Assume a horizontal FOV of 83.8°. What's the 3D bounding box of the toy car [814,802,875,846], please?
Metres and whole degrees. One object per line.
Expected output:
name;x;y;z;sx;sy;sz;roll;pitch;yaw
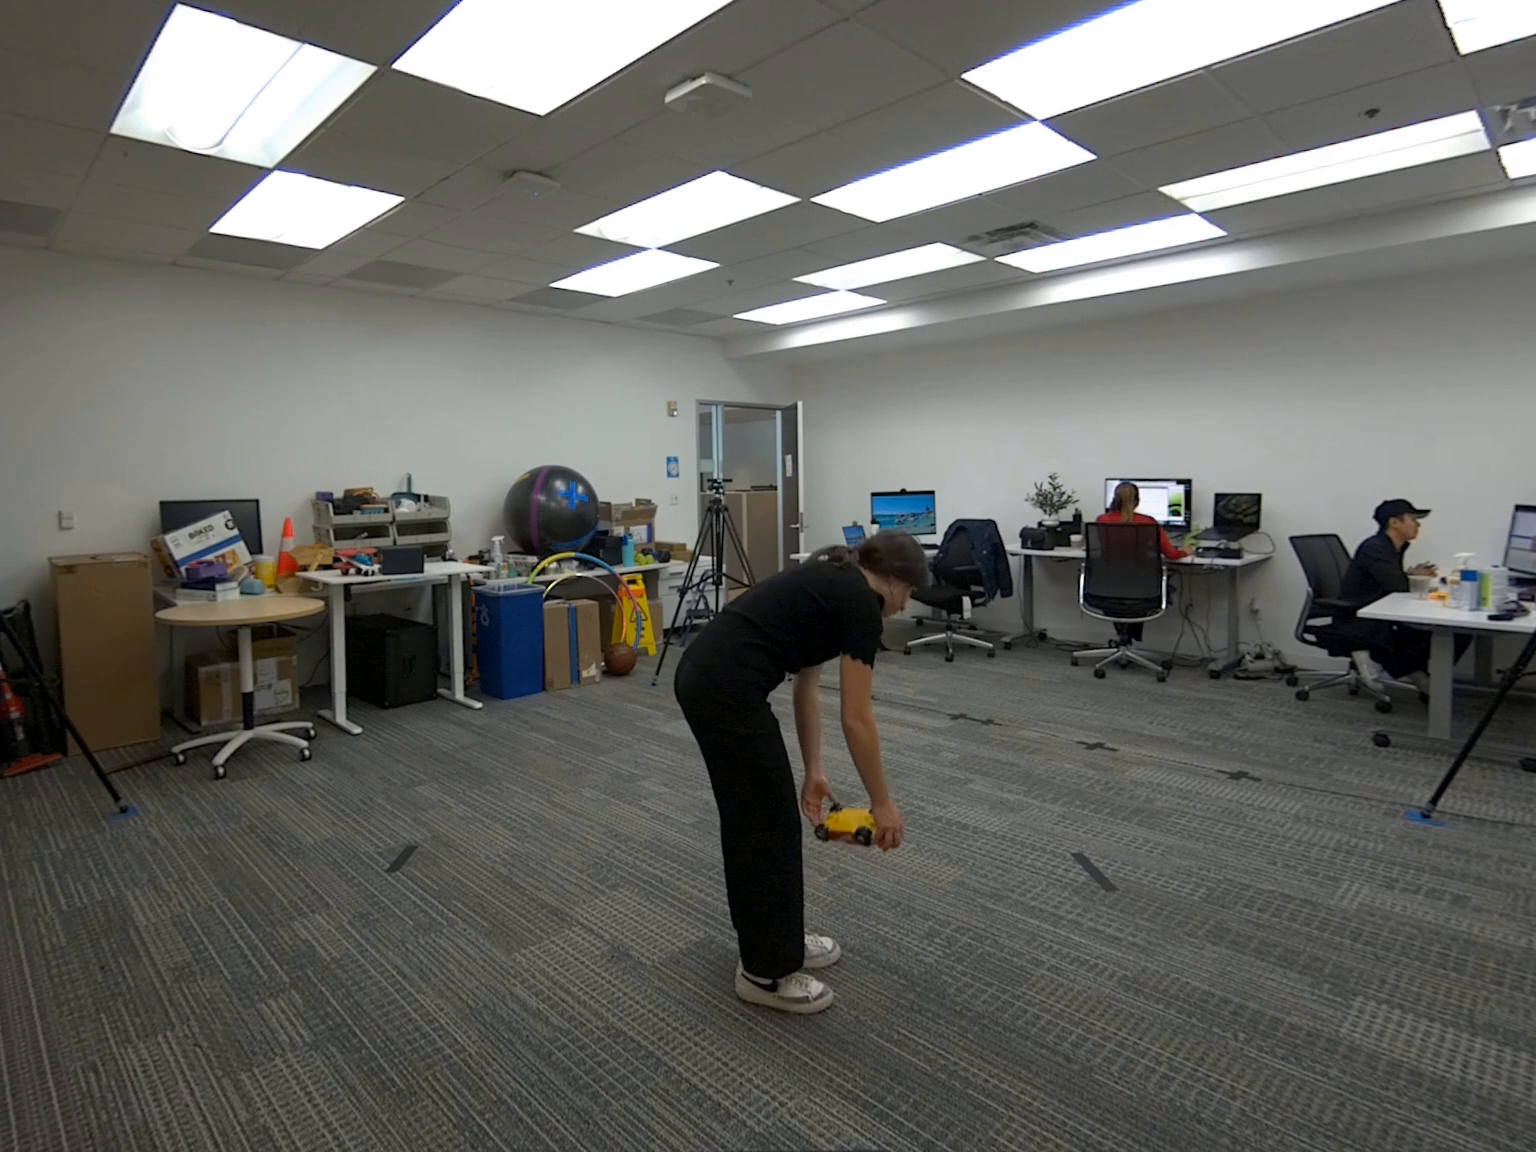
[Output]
toy car;0.253;0.680;2.324;0.261;0.081;0.129;-2;27;39
